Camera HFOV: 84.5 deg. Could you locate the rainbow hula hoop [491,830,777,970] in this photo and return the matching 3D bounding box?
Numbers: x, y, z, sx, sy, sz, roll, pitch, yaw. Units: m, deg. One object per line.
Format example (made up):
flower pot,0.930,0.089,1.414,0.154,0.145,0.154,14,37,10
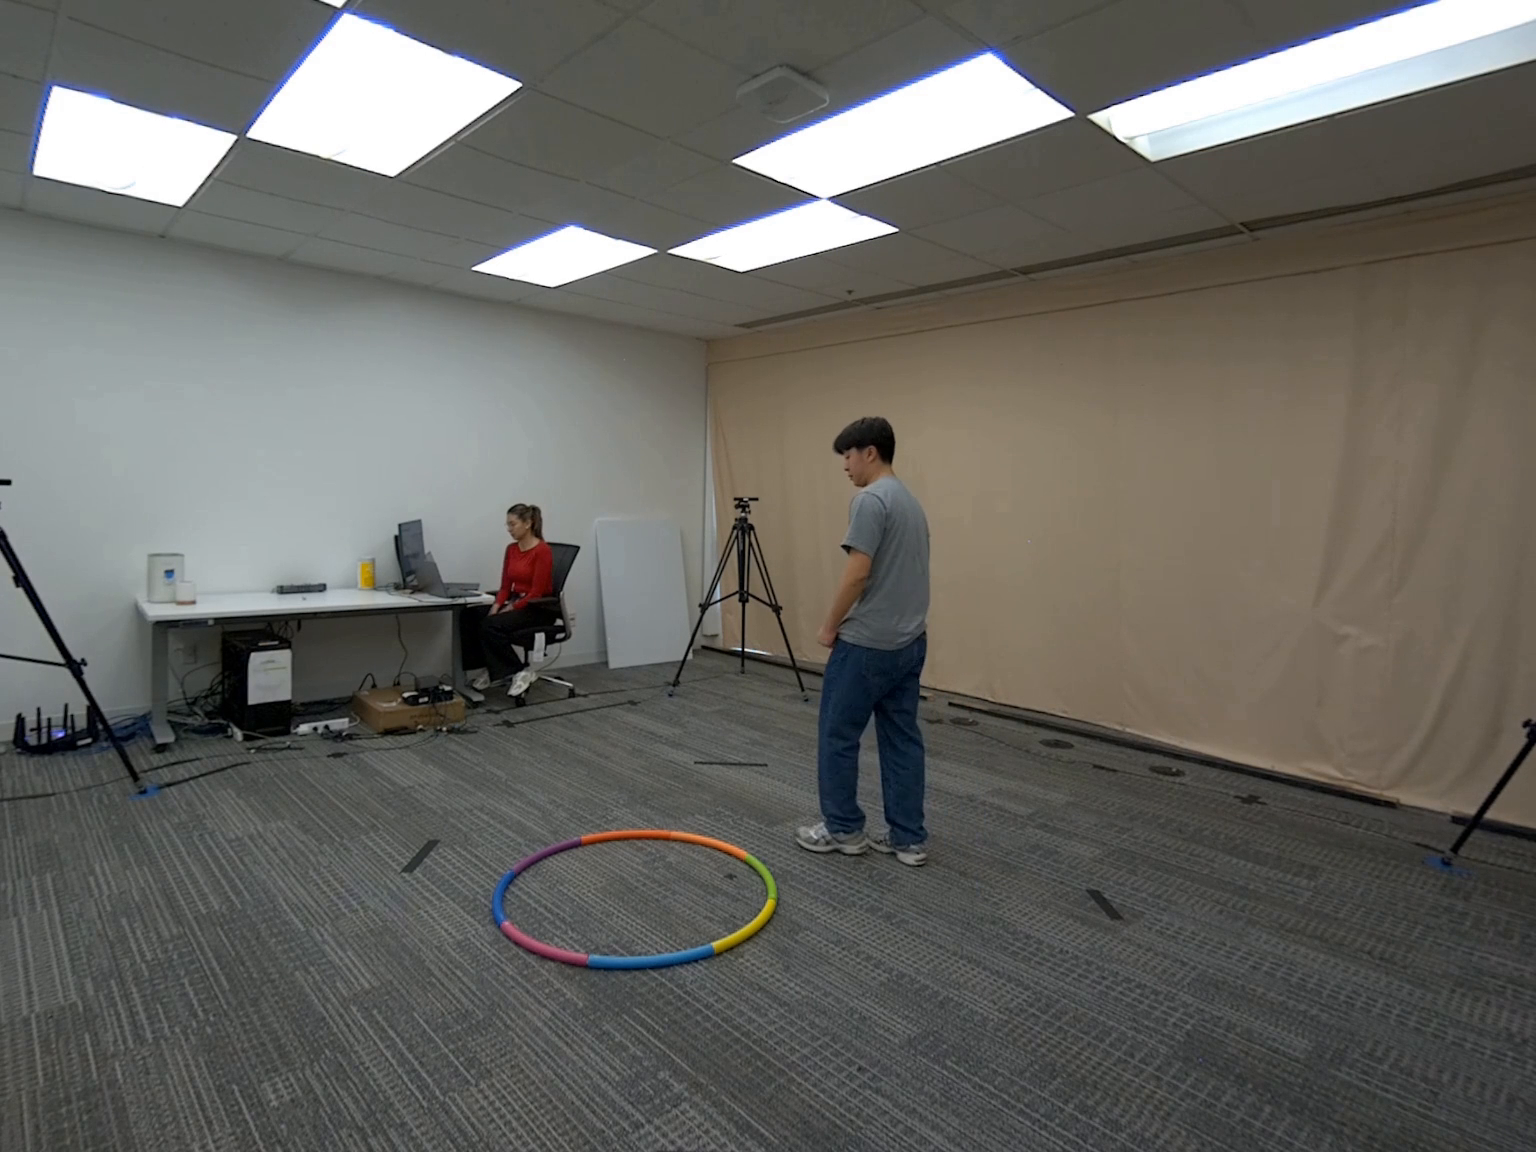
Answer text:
rainbow hula hoop,-0.465,1.083,2.954,0.978,0.035,0.982,1,5,-1
